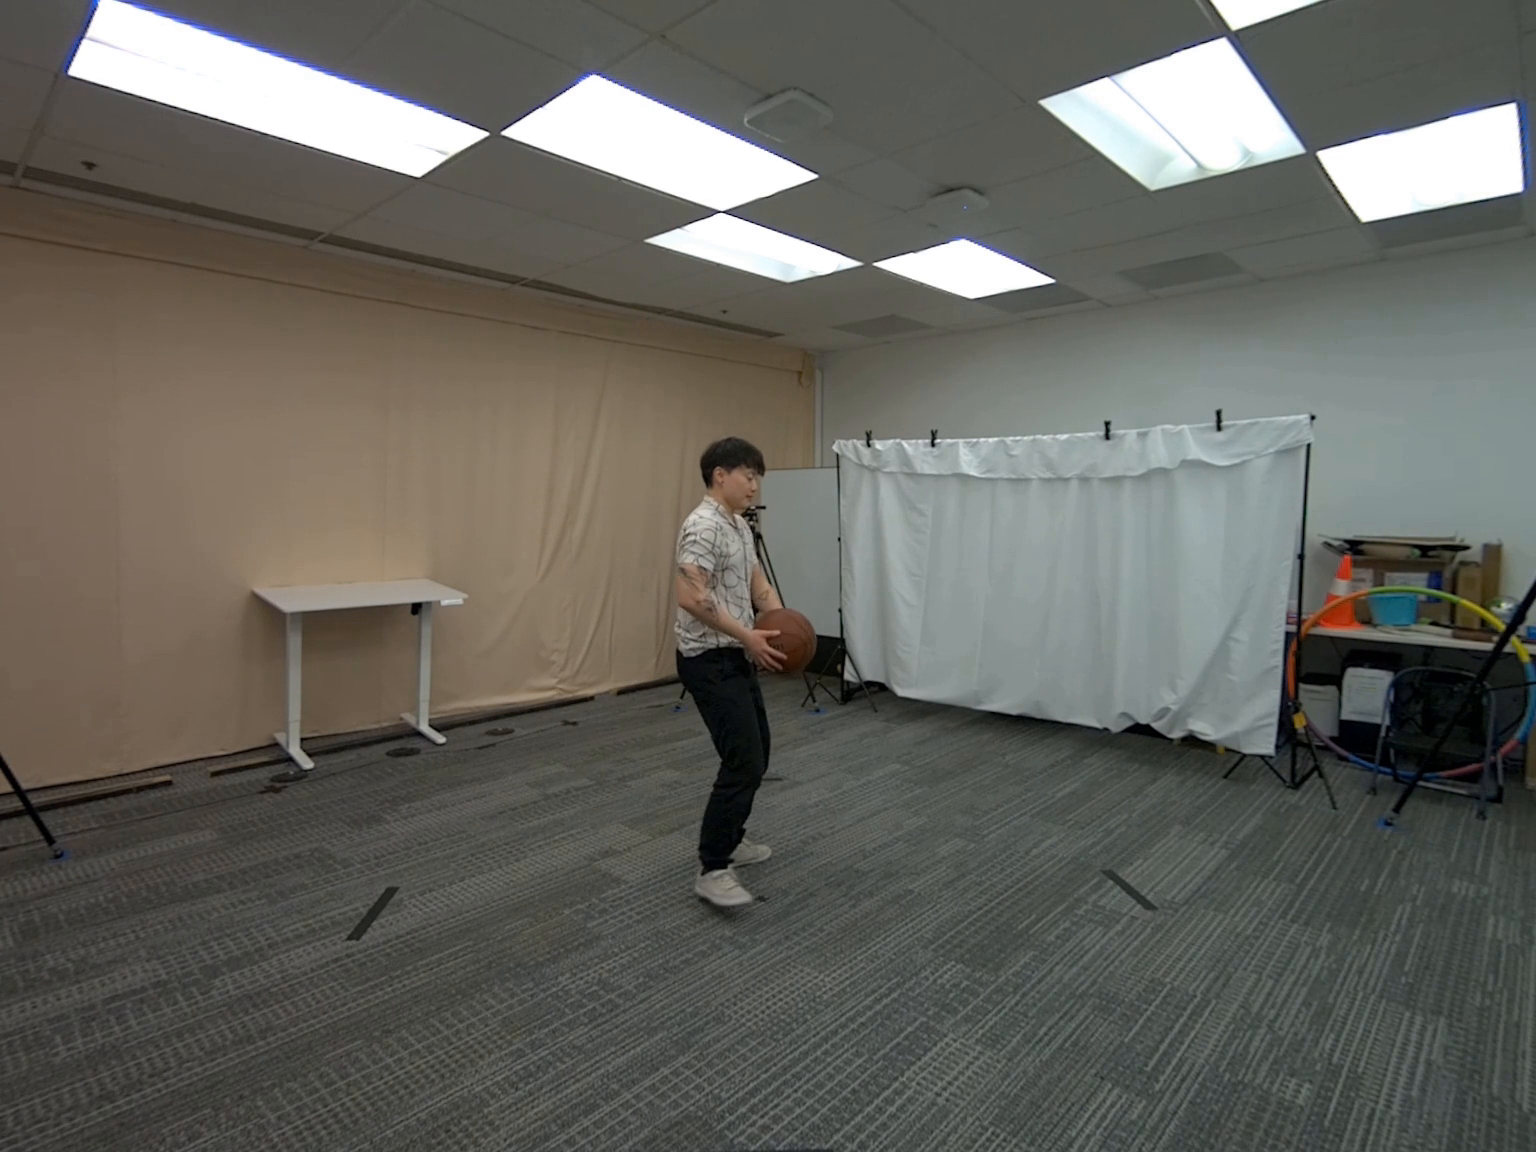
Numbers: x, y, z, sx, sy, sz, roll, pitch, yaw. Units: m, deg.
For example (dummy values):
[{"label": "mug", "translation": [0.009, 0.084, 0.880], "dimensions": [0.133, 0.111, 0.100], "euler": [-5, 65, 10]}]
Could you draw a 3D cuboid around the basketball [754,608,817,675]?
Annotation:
[{"label": "basketball", "translation": [0.048, 0.223, 3.030], "dimensions": [0.236, 0.235, 0.237], "euler": [0, 4, -2]}]
